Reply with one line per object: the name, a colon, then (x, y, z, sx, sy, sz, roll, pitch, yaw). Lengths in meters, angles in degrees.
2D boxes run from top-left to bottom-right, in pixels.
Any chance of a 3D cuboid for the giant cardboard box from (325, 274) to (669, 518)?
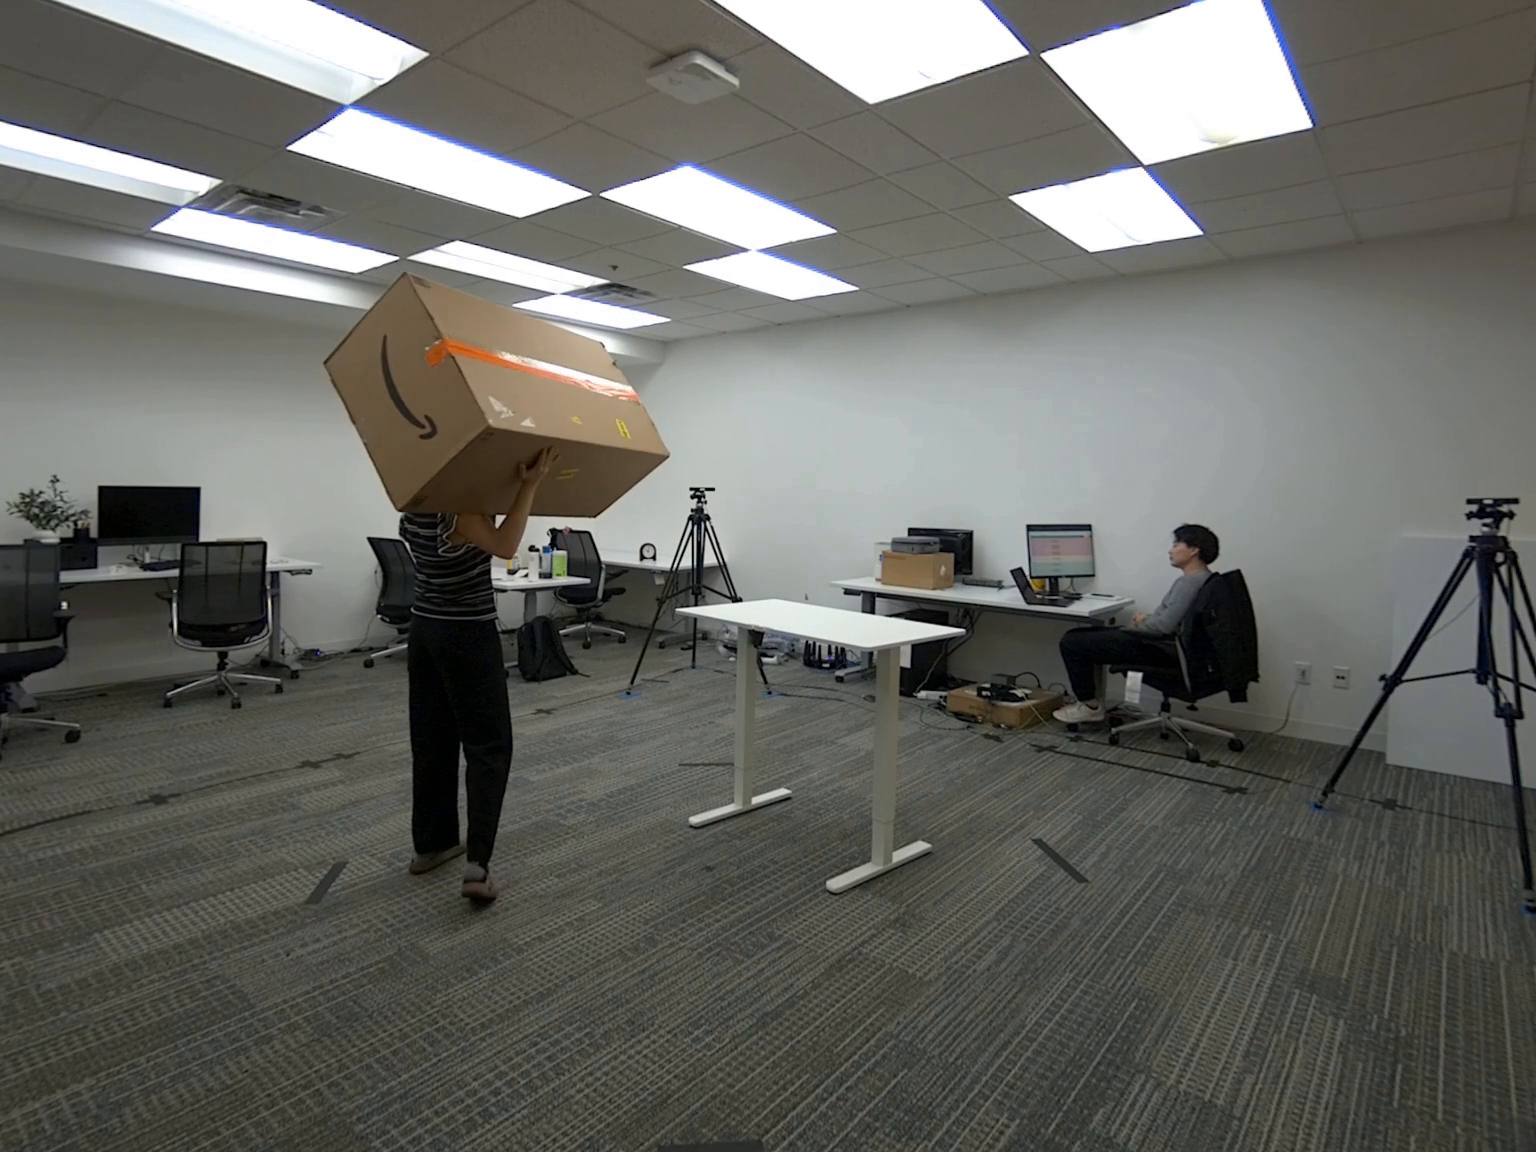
giant cardboard box: (-0.883, -0.563, 2.939, 0.428, 0.588, 1.001, -36, -13, 21)
